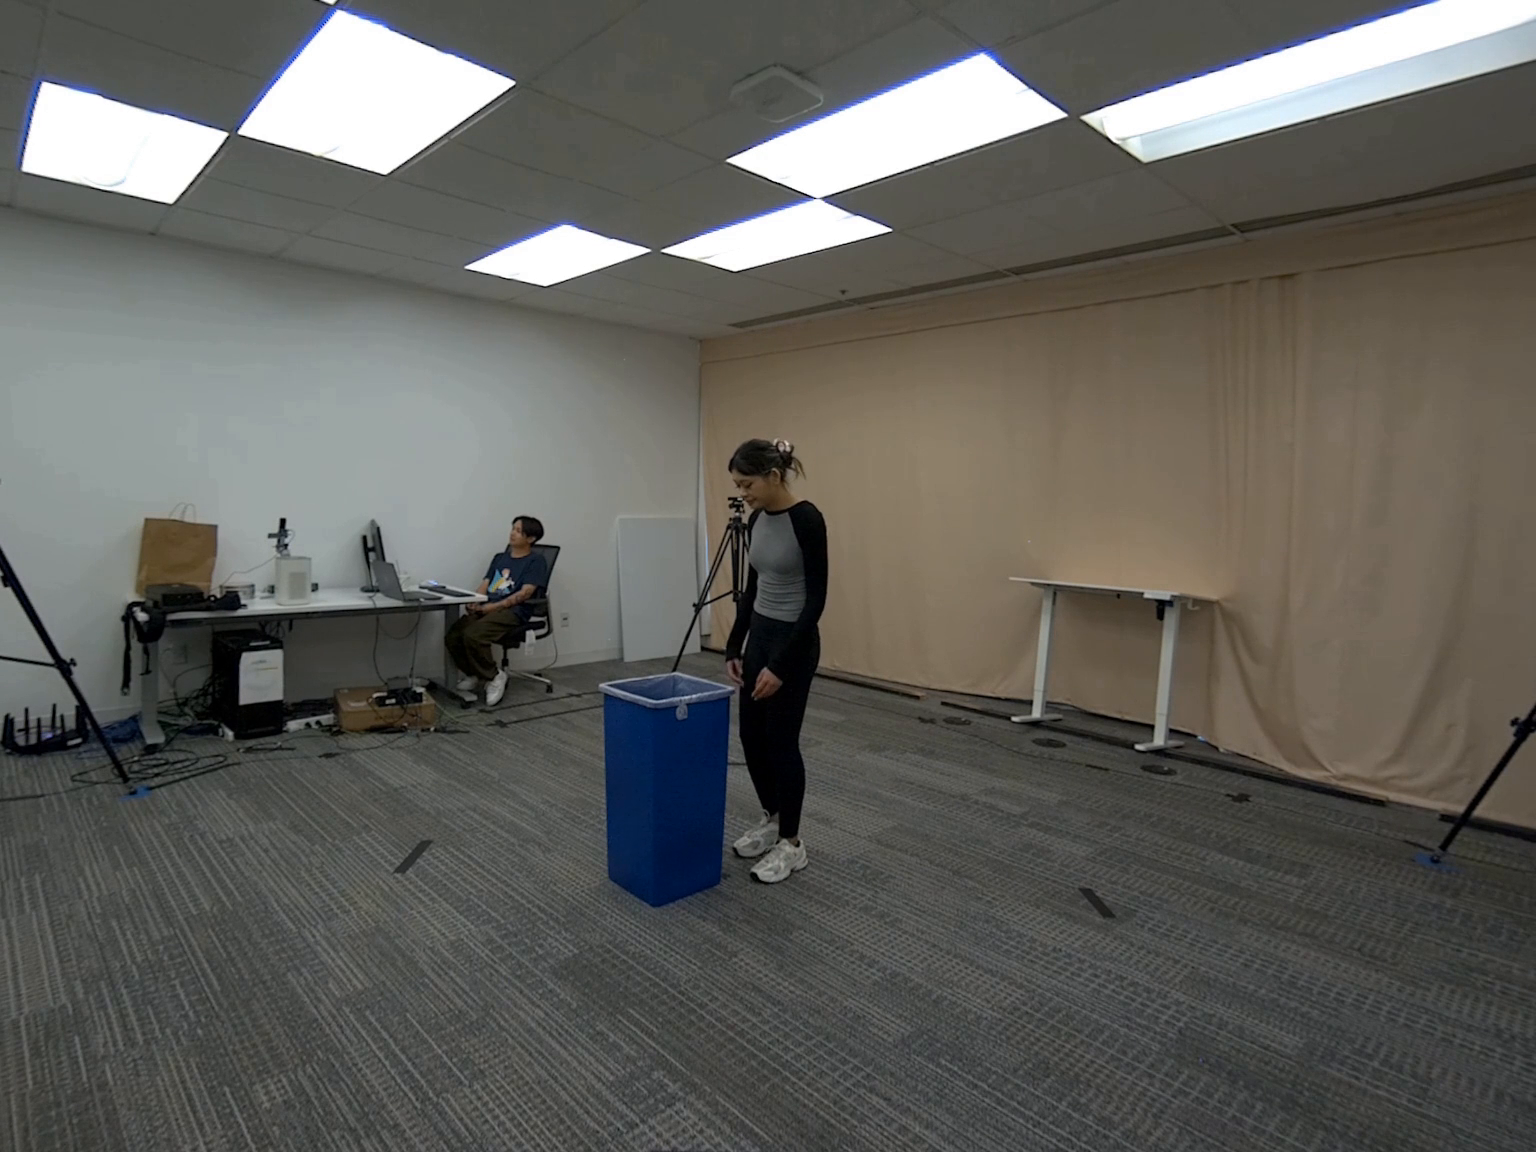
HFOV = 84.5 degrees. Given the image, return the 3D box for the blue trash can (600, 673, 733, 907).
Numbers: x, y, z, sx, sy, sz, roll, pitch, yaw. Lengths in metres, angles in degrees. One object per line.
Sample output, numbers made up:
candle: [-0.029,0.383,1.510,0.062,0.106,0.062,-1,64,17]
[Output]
blue trash can: [-0.384,0.752,3.039,0.369,0.712,0.383,-1,4,-43]
